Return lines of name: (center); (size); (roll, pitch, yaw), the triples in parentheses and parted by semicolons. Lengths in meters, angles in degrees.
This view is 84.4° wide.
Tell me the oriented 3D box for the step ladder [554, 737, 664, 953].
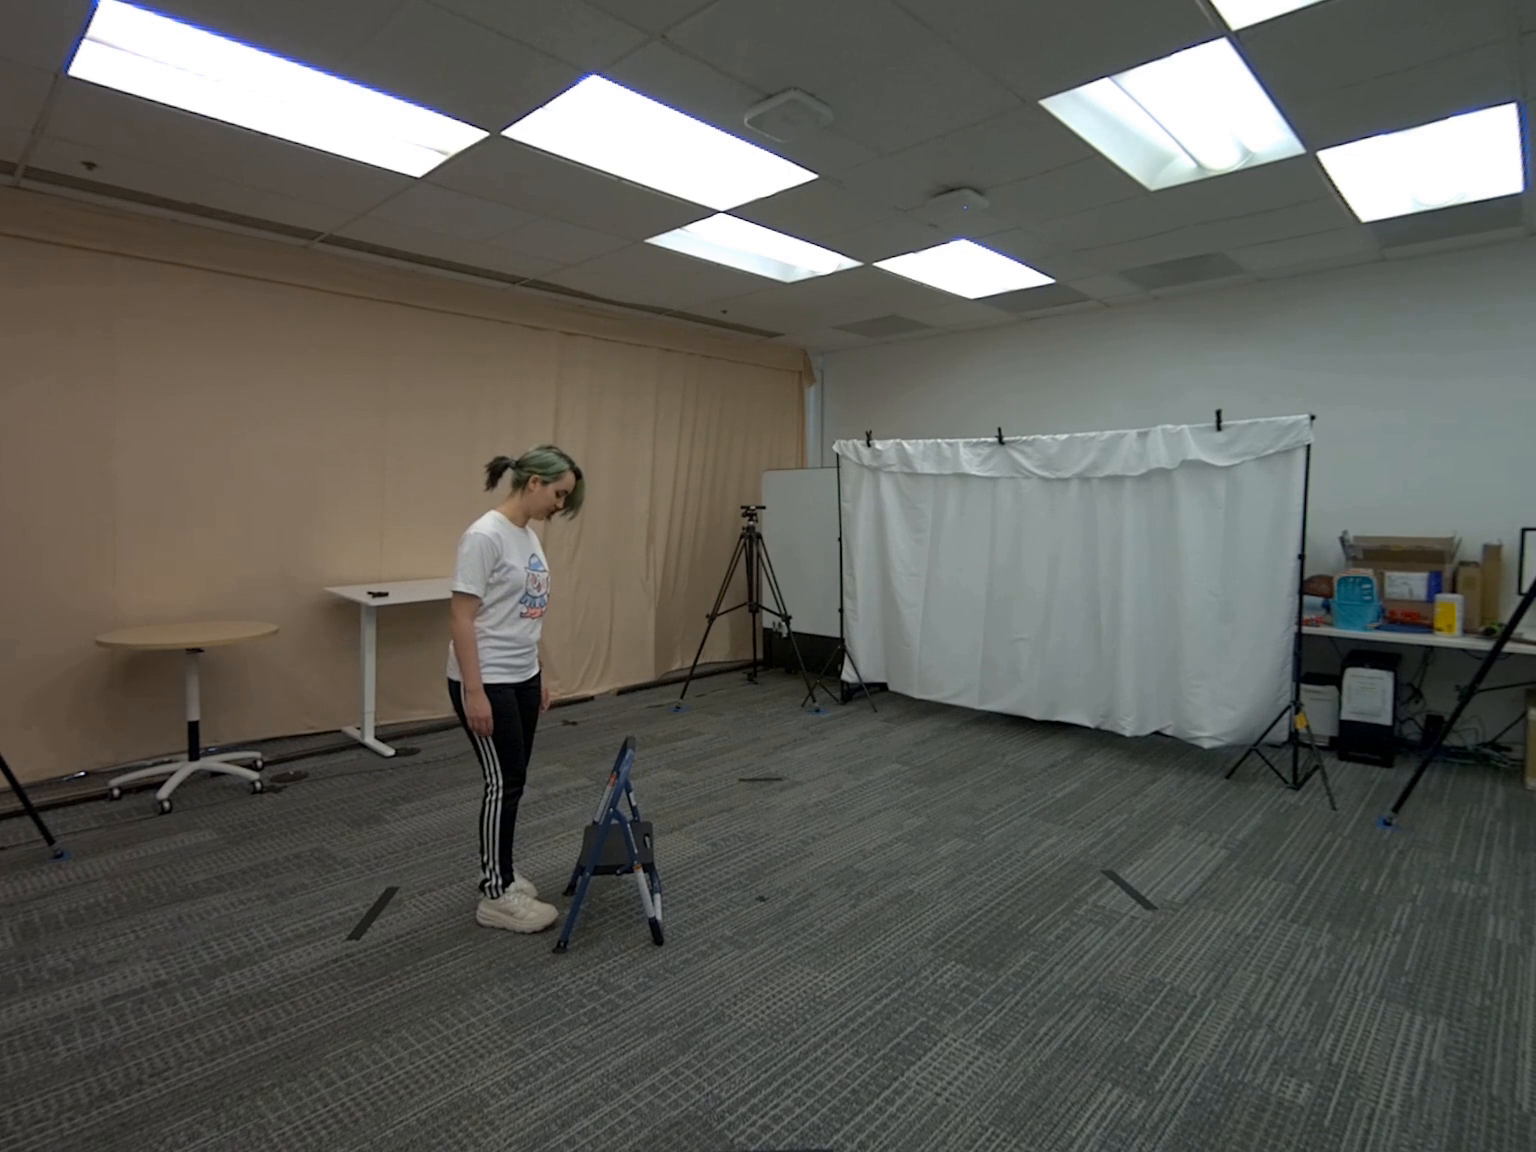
step ladder: (-0.530, 0.864, 2.831); (0.347, 0.605, 0.434); (0, 2, -7)
